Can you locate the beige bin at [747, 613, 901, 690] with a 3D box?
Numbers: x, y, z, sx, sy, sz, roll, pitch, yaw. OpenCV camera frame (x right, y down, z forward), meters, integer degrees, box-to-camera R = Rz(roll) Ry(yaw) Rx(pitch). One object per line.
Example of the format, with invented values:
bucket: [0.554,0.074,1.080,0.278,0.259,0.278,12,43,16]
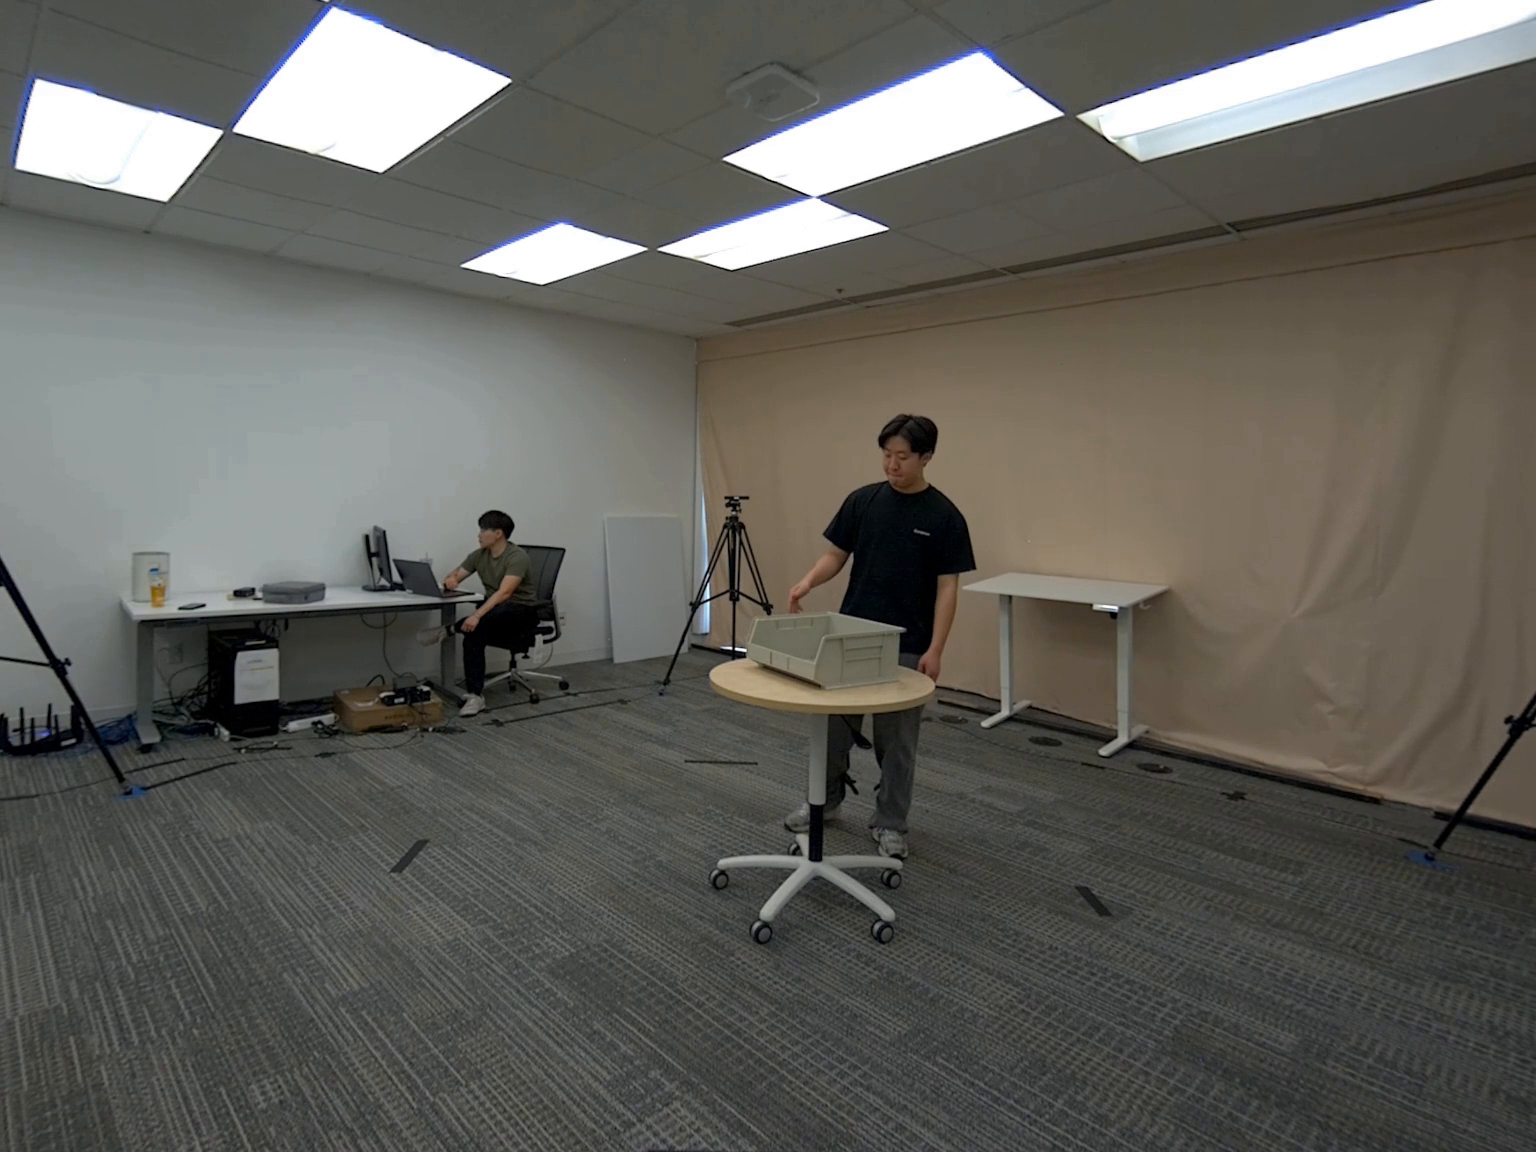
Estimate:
beige bin: [0.189,0.253,2.933,0.369,0.188,0.432,-1,5,-33]
